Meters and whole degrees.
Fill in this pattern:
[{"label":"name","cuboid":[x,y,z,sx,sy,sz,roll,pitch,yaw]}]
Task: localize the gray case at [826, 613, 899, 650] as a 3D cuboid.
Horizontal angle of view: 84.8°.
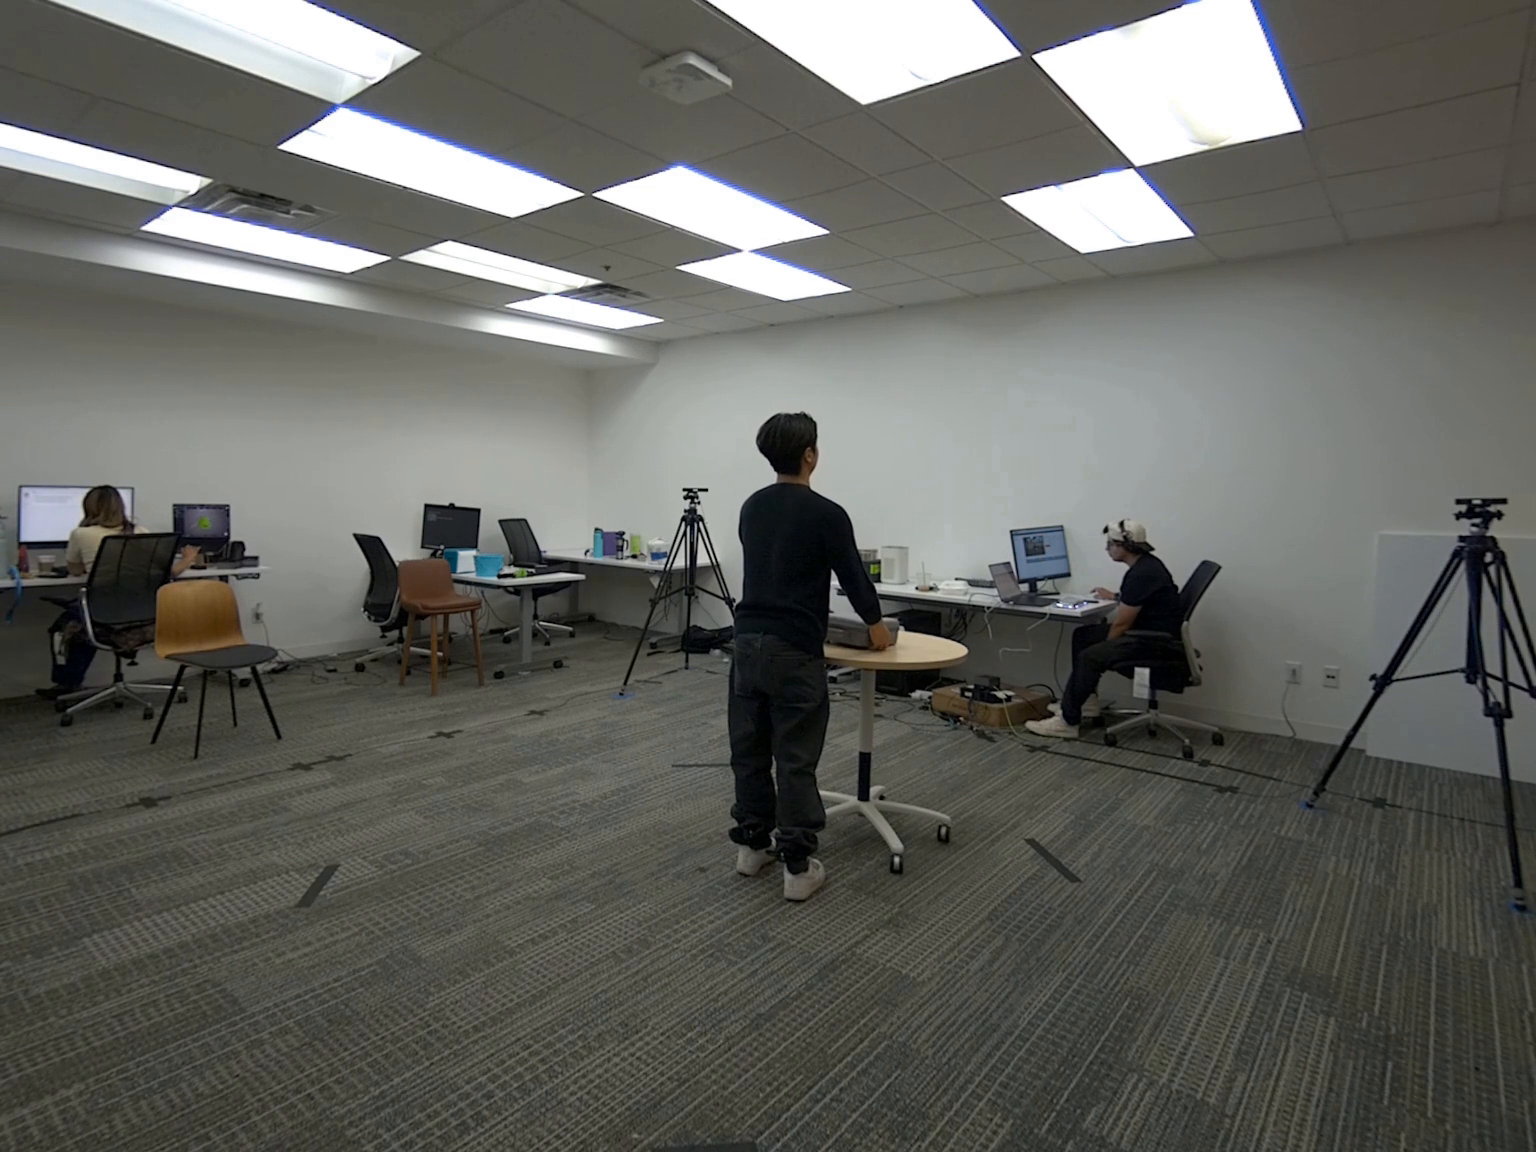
[{"label":"gray case","cuboid":[0.361,0.209,3.414,0.266,0.104,0.252,7,4,42]}]
